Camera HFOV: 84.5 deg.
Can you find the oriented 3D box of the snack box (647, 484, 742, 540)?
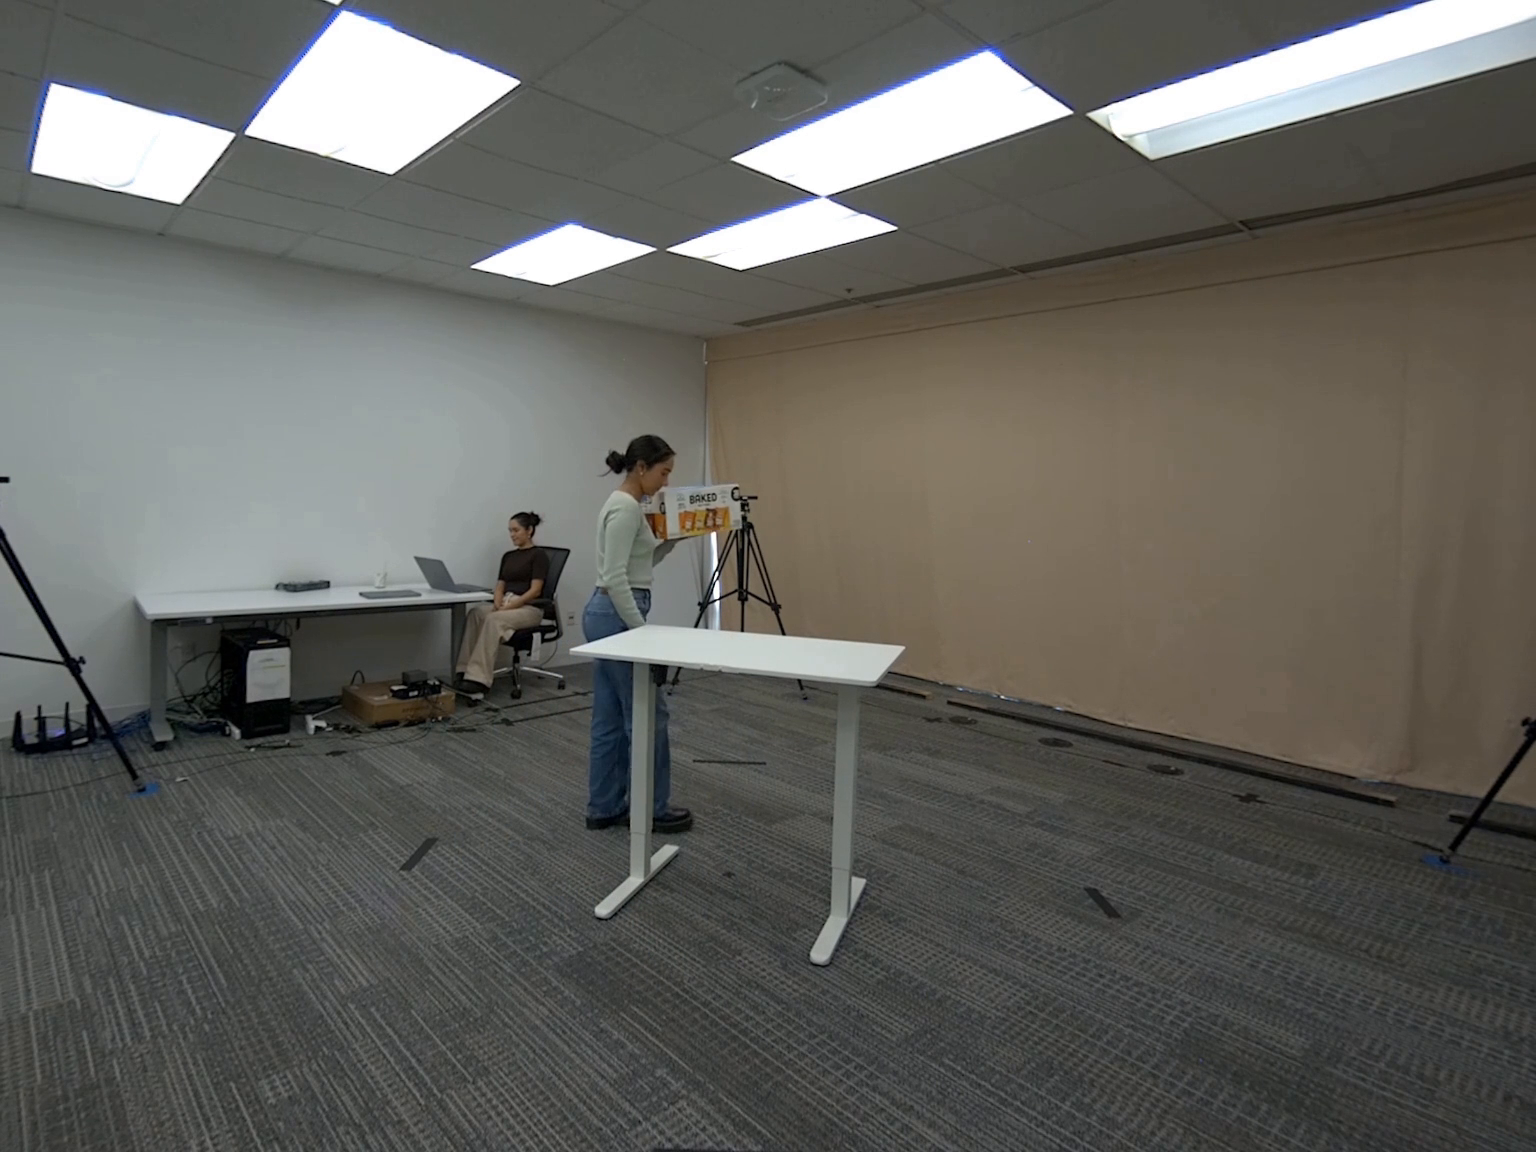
[{"bbox_3d":[-0.394,-0.293,3.783,0.397,0.204,0.349,-10,9,-39],"label":"snack box"}]
